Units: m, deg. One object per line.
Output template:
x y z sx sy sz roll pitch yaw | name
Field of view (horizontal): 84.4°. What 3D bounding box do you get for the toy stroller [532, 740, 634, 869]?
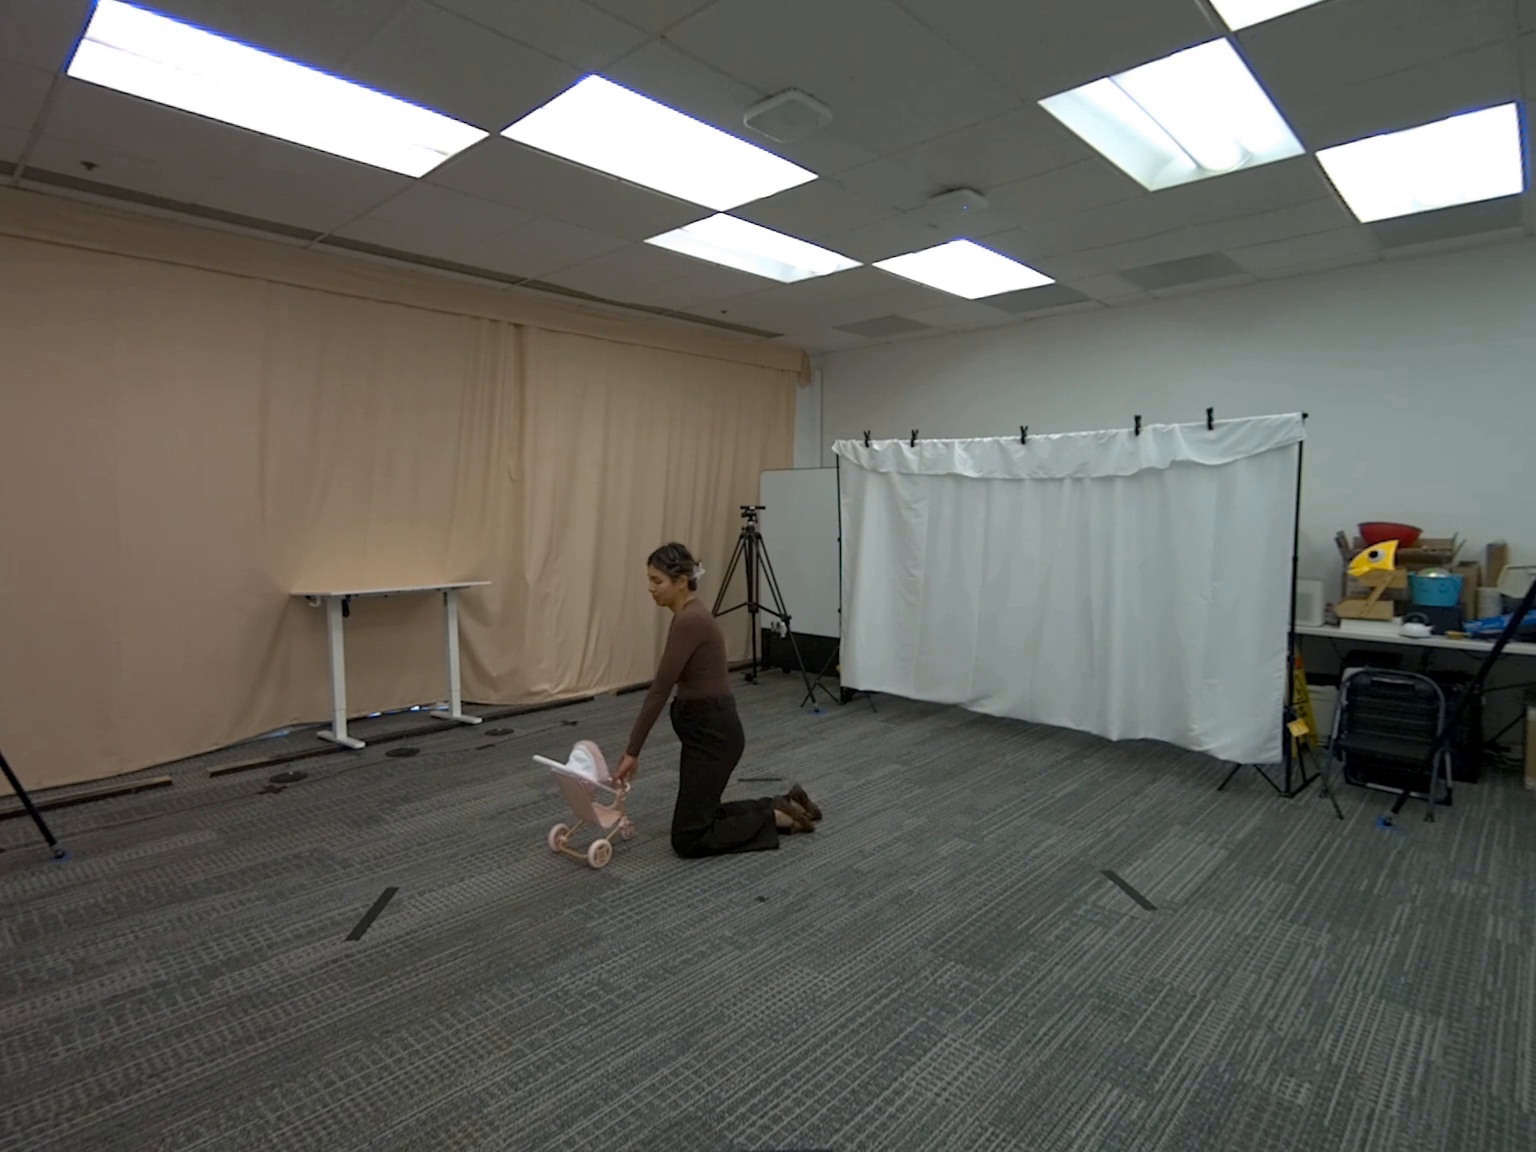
-0.711 0.895 3.375 0.291 0.529 0.334 4 20 43 | toy stroller
